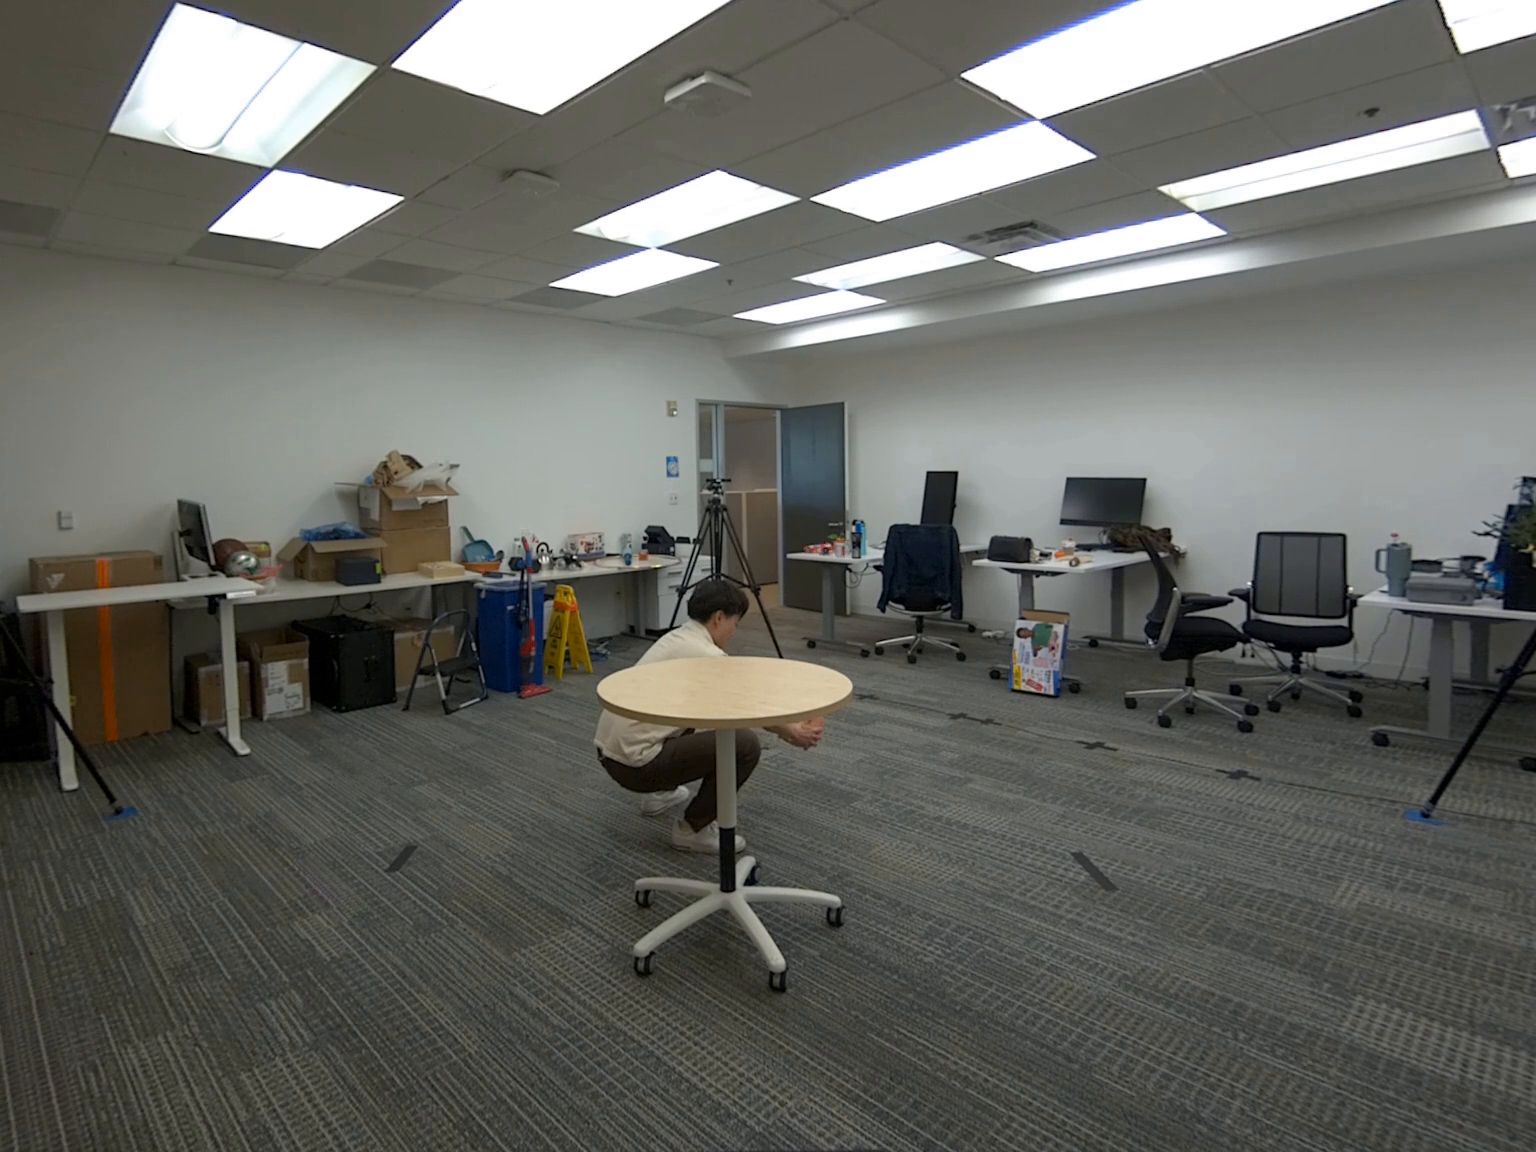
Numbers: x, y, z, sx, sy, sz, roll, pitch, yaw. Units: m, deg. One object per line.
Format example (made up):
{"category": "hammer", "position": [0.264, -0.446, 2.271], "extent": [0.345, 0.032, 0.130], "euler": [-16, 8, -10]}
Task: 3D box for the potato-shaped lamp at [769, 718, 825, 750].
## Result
{"category": "potato-shaped lamp", "position": [0.147, 0.620, 3.632], "extent": [0.167, 0.198, 0.168], "euler": [17, -4, -22]}
